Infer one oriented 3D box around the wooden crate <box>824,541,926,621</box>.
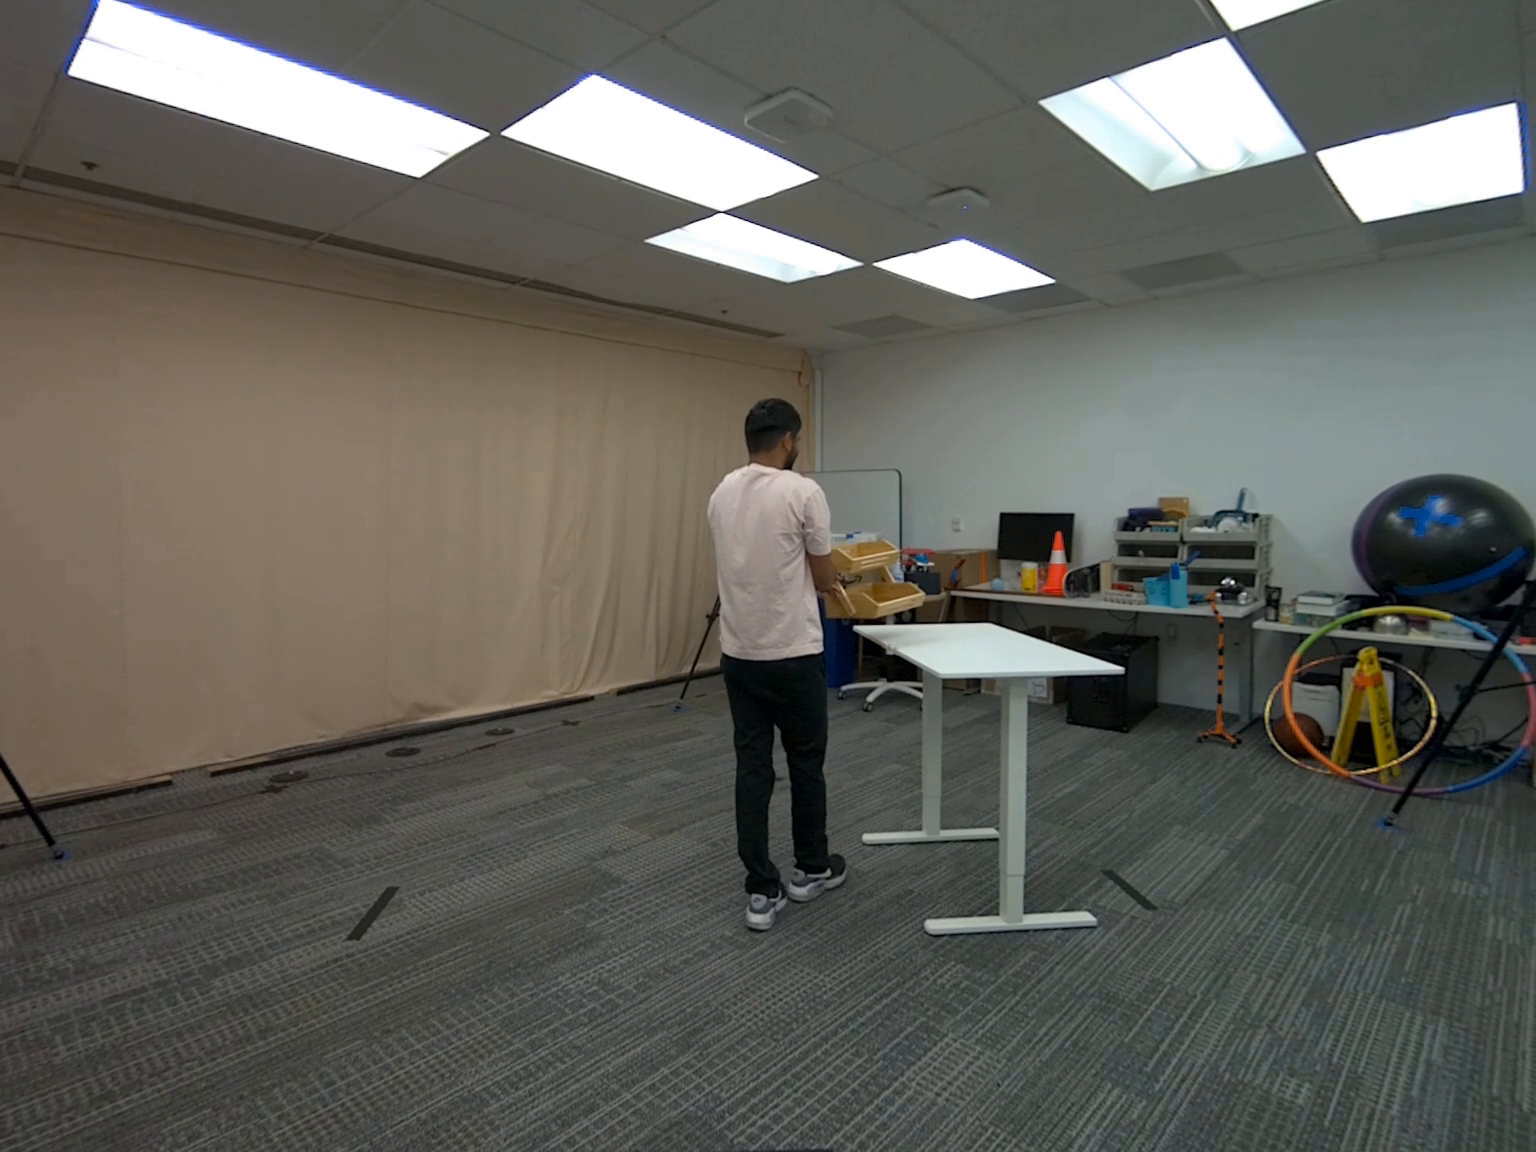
[{"bbox_3d":[0.388,0.006,3.240,0.311,0.273,0.315,-4,5,45],"label":"wooden crate"}]
